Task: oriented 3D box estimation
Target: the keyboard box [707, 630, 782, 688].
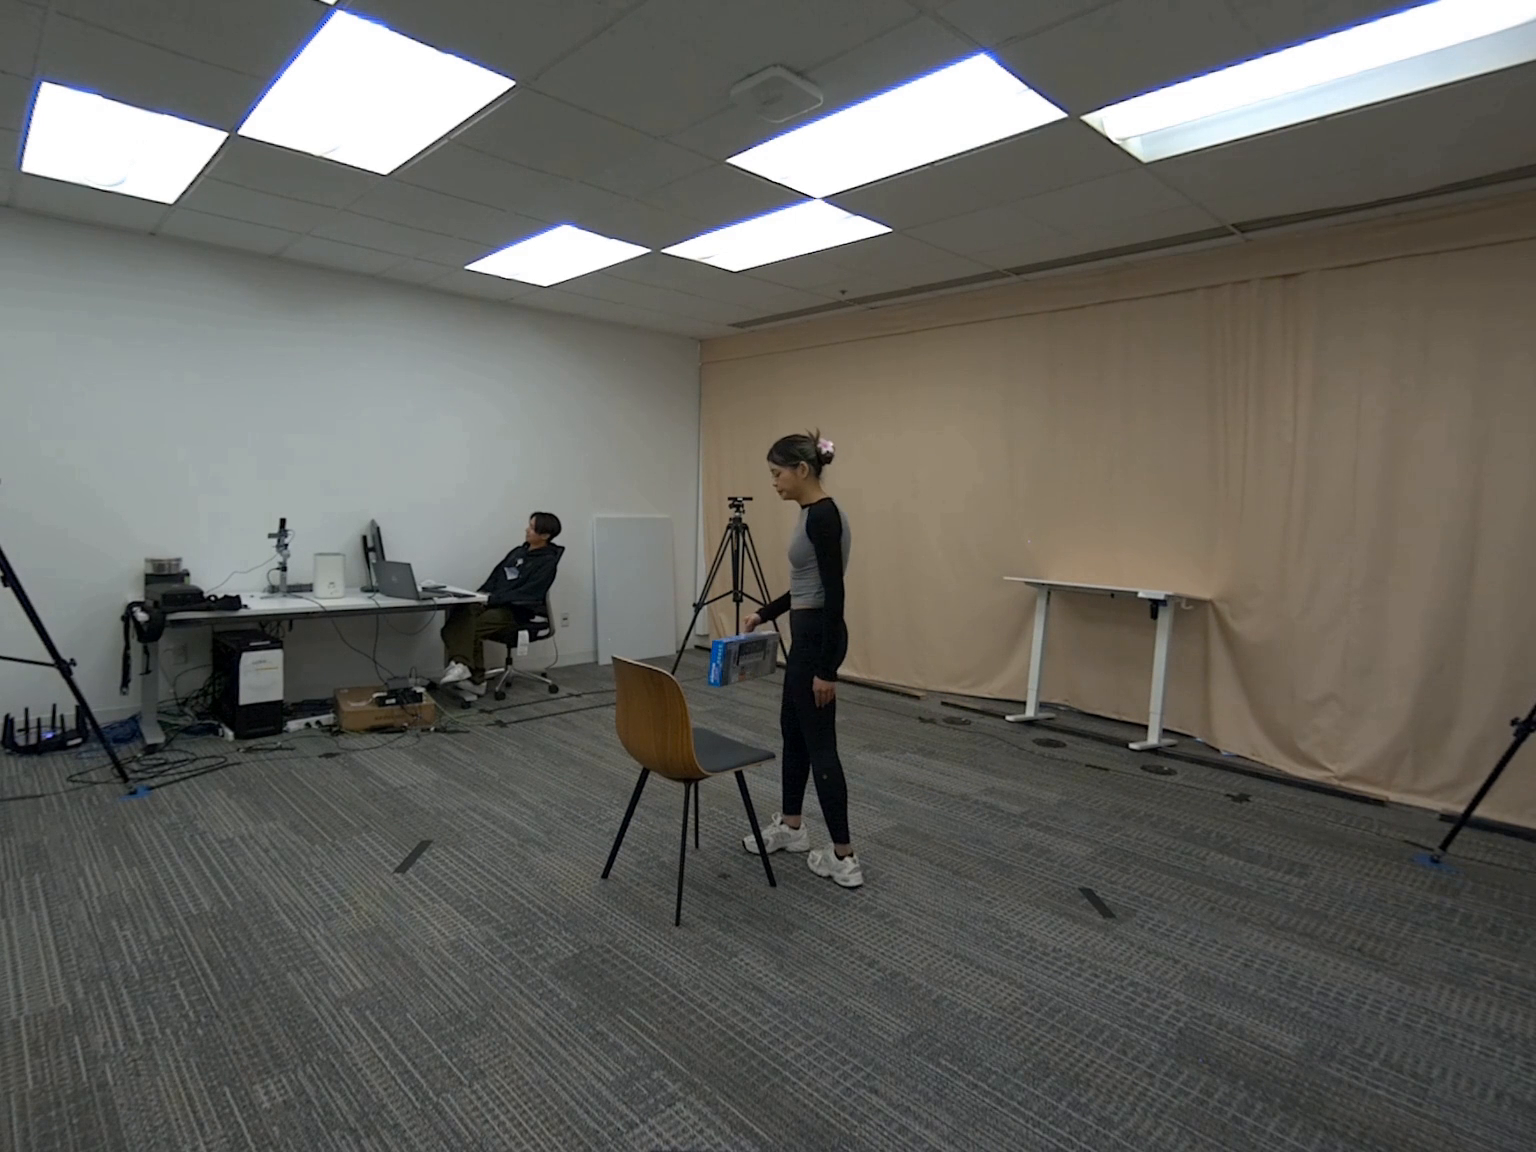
[{"bbox_3d":[-0.091,0.324,3.323,0.060,0.175,0.428,6,4,28],"label":"keyboard box"}]
